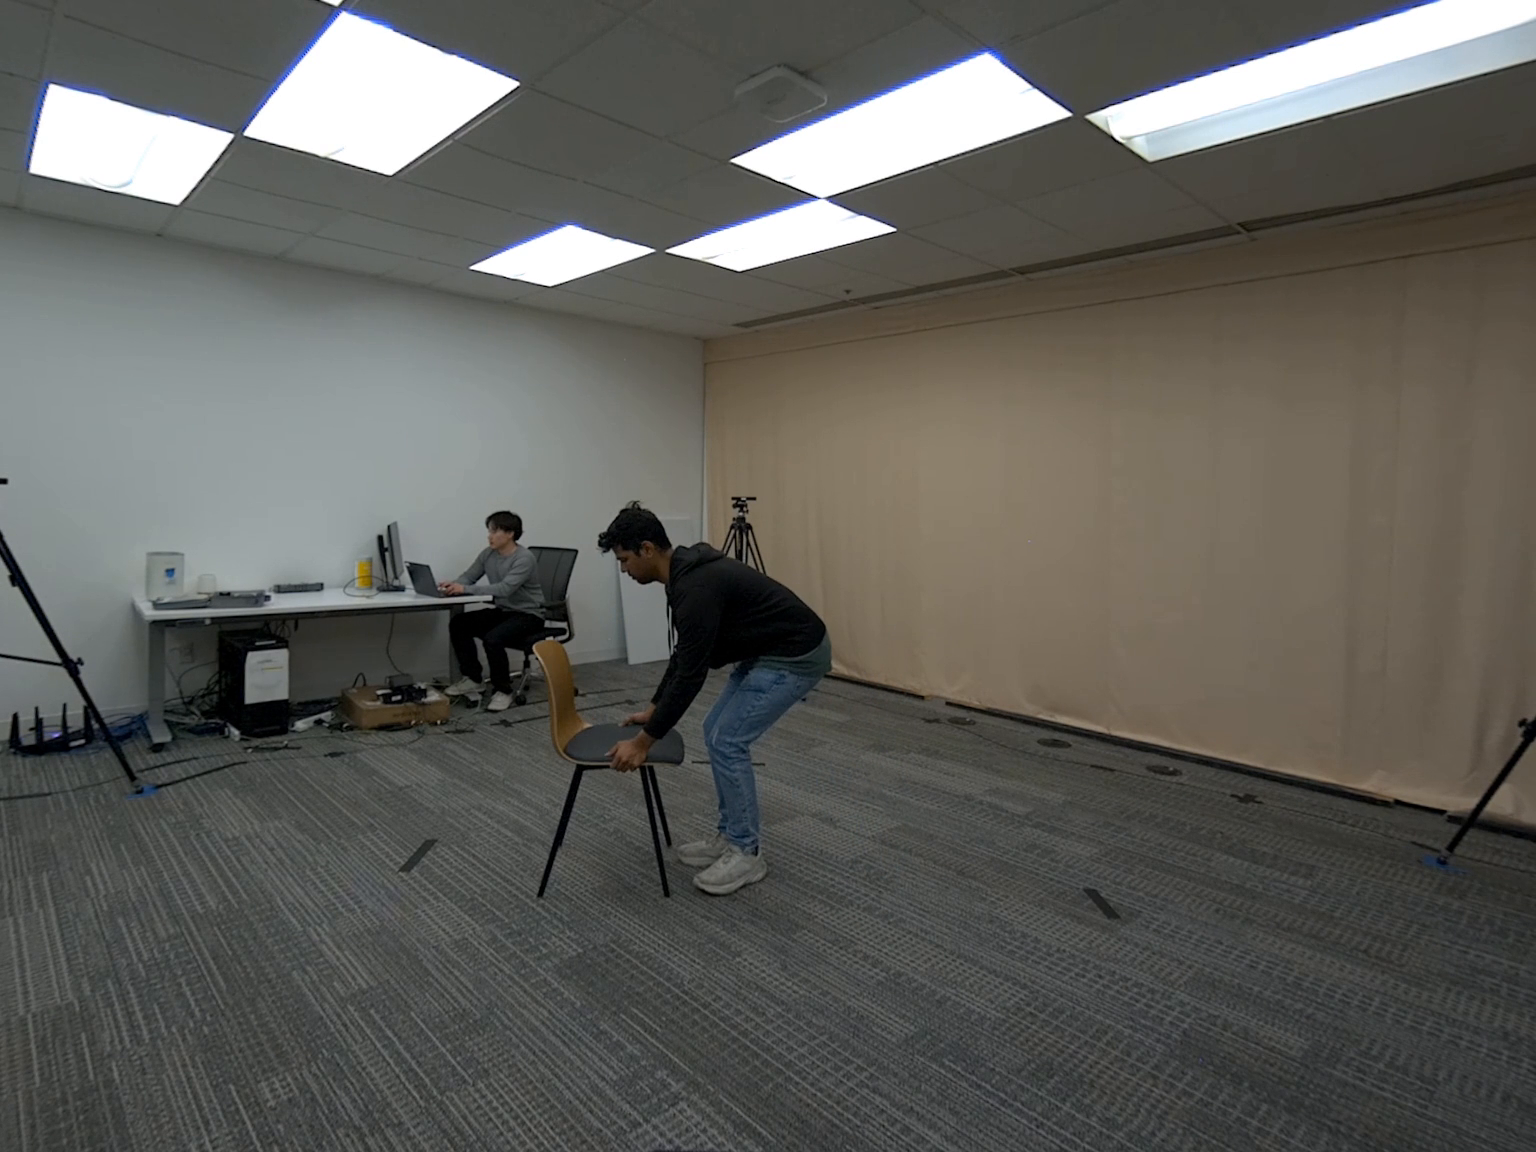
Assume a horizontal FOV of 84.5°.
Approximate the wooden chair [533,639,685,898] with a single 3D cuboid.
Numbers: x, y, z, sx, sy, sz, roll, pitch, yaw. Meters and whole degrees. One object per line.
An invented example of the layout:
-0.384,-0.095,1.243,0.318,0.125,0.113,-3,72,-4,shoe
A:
-0.569,0.659,3.102,0.521,0.875,0.481,-3,3,-4,wooden chair
